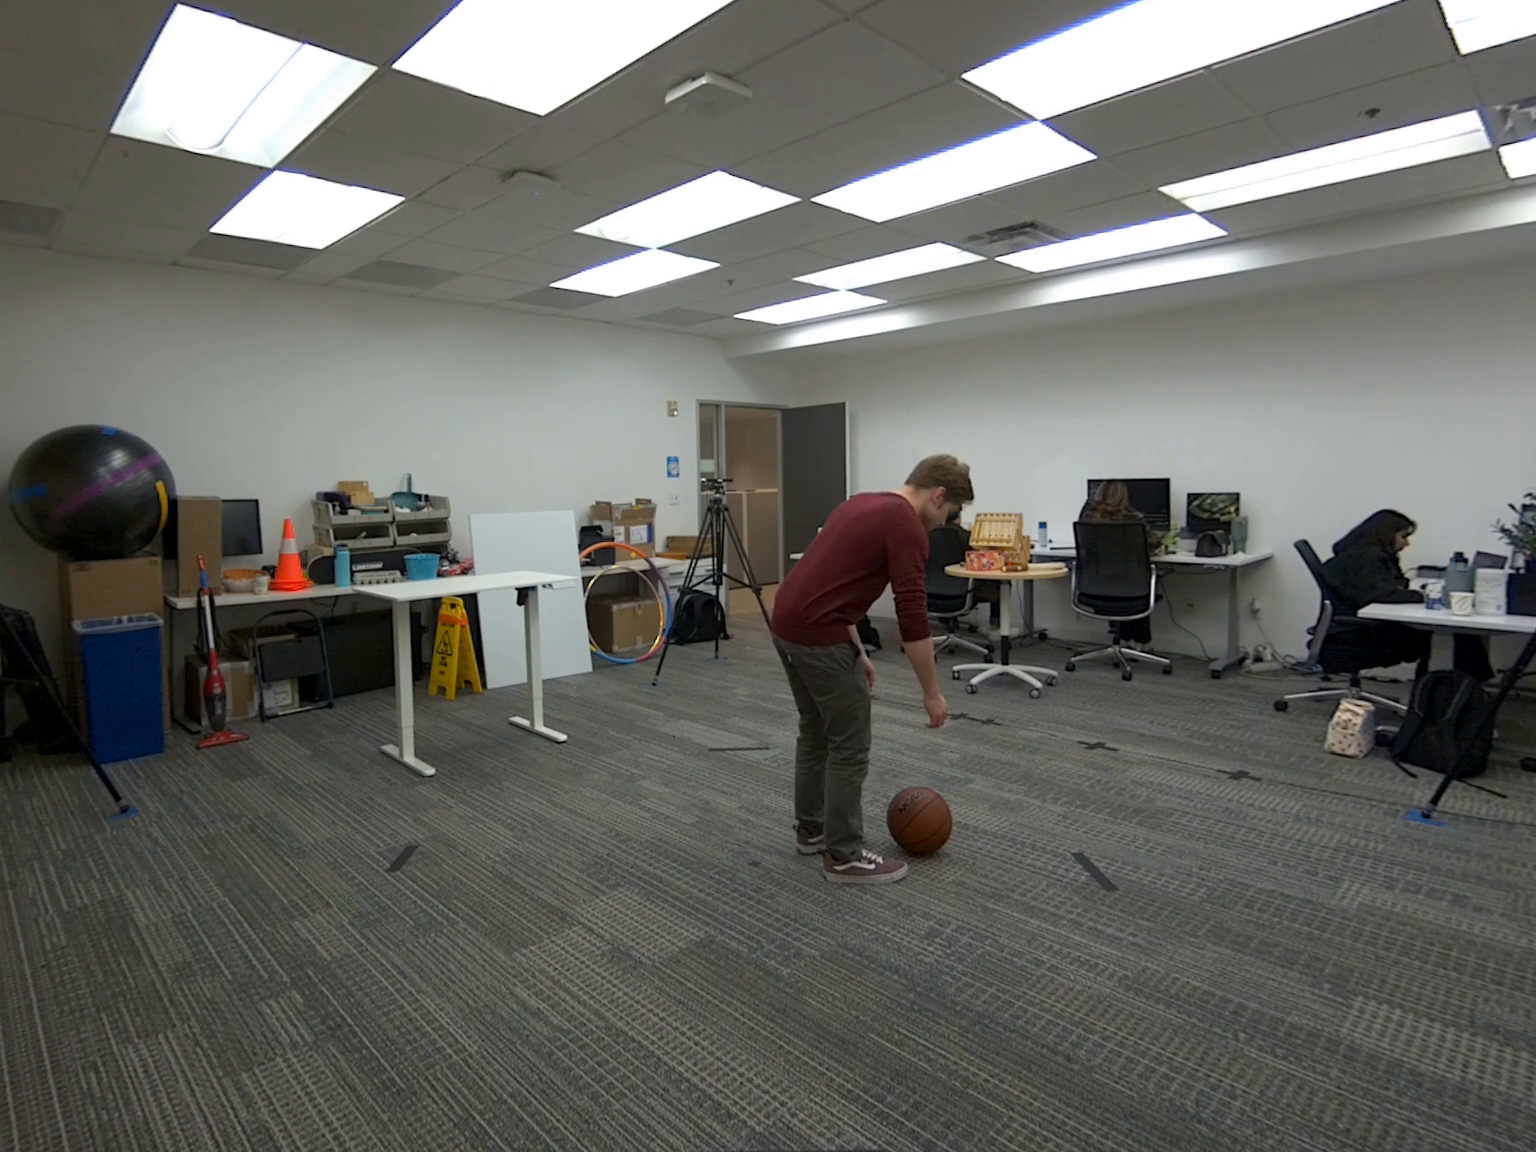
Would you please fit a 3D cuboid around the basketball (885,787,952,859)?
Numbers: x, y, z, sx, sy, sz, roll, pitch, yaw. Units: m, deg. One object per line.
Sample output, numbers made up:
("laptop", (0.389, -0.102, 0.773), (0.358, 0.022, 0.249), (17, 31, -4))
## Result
("basketball", (0.566, 0.905, 3.173), (0.236, 0.235, 0.237), (-1, 5, -2))
